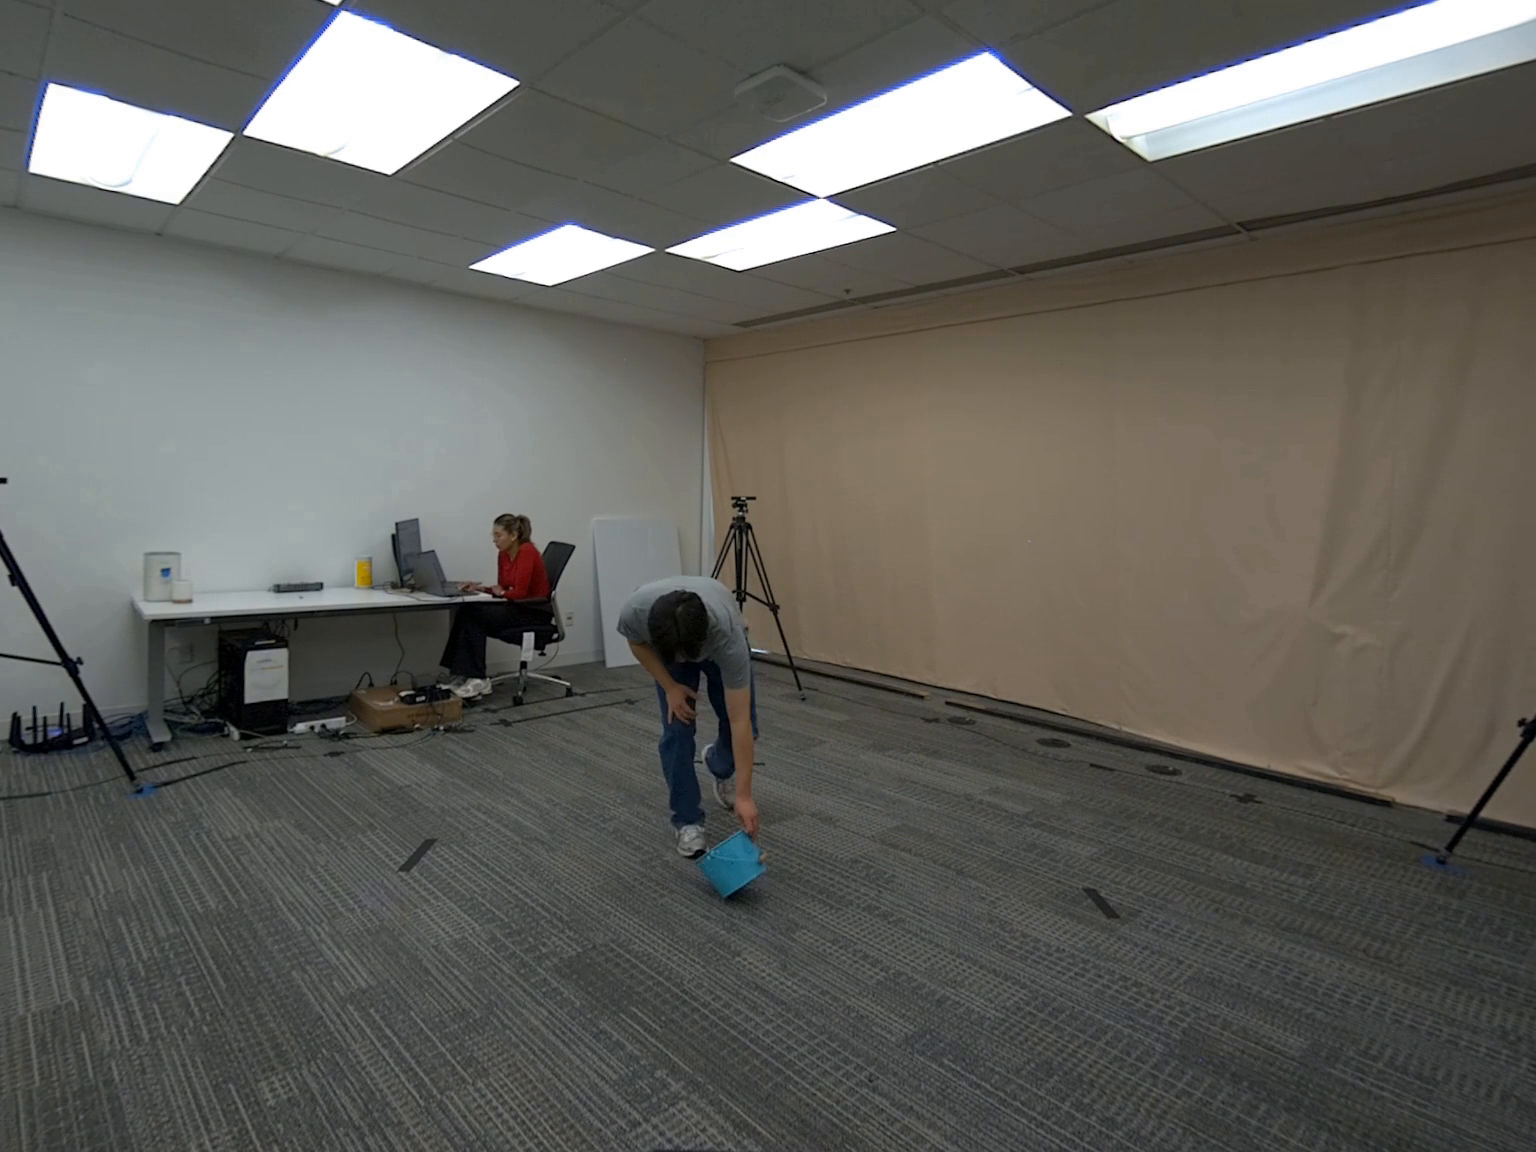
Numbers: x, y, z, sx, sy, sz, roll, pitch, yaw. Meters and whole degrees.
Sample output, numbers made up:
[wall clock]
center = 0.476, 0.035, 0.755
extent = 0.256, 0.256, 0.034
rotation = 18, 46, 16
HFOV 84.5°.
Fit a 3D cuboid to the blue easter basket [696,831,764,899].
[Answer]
[blue easter basket]
center = -0.129, 1.006, 2.937
extent = 0.242, 0.159, 0.239
rotation = -30, -20, -14
